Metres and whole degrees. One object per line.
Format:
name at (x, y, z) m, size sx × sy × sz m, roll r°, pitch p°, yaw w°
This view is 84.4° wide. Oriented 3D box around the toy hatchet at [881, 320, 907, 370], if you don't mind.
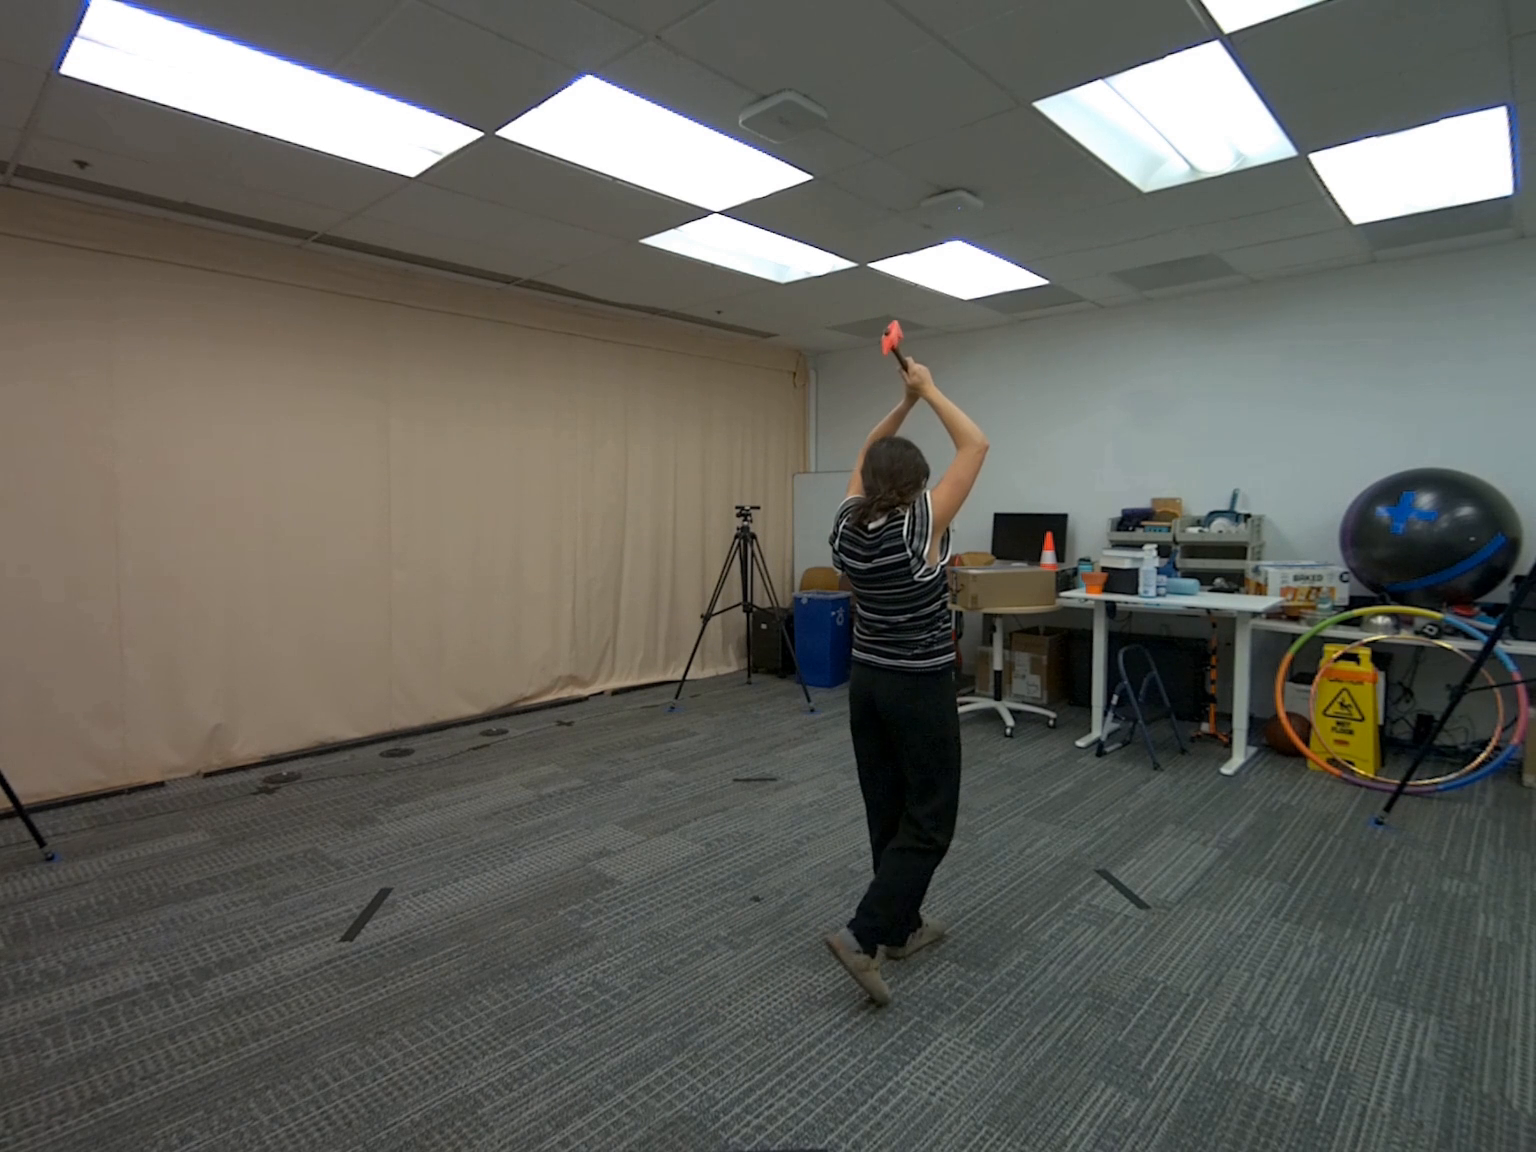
toy hatchet at (0.423, -0.664, 2.507) m, size 0.030 × 0.132 × 0.260 m, roll -5°, pitch -17°, yaw 37°
